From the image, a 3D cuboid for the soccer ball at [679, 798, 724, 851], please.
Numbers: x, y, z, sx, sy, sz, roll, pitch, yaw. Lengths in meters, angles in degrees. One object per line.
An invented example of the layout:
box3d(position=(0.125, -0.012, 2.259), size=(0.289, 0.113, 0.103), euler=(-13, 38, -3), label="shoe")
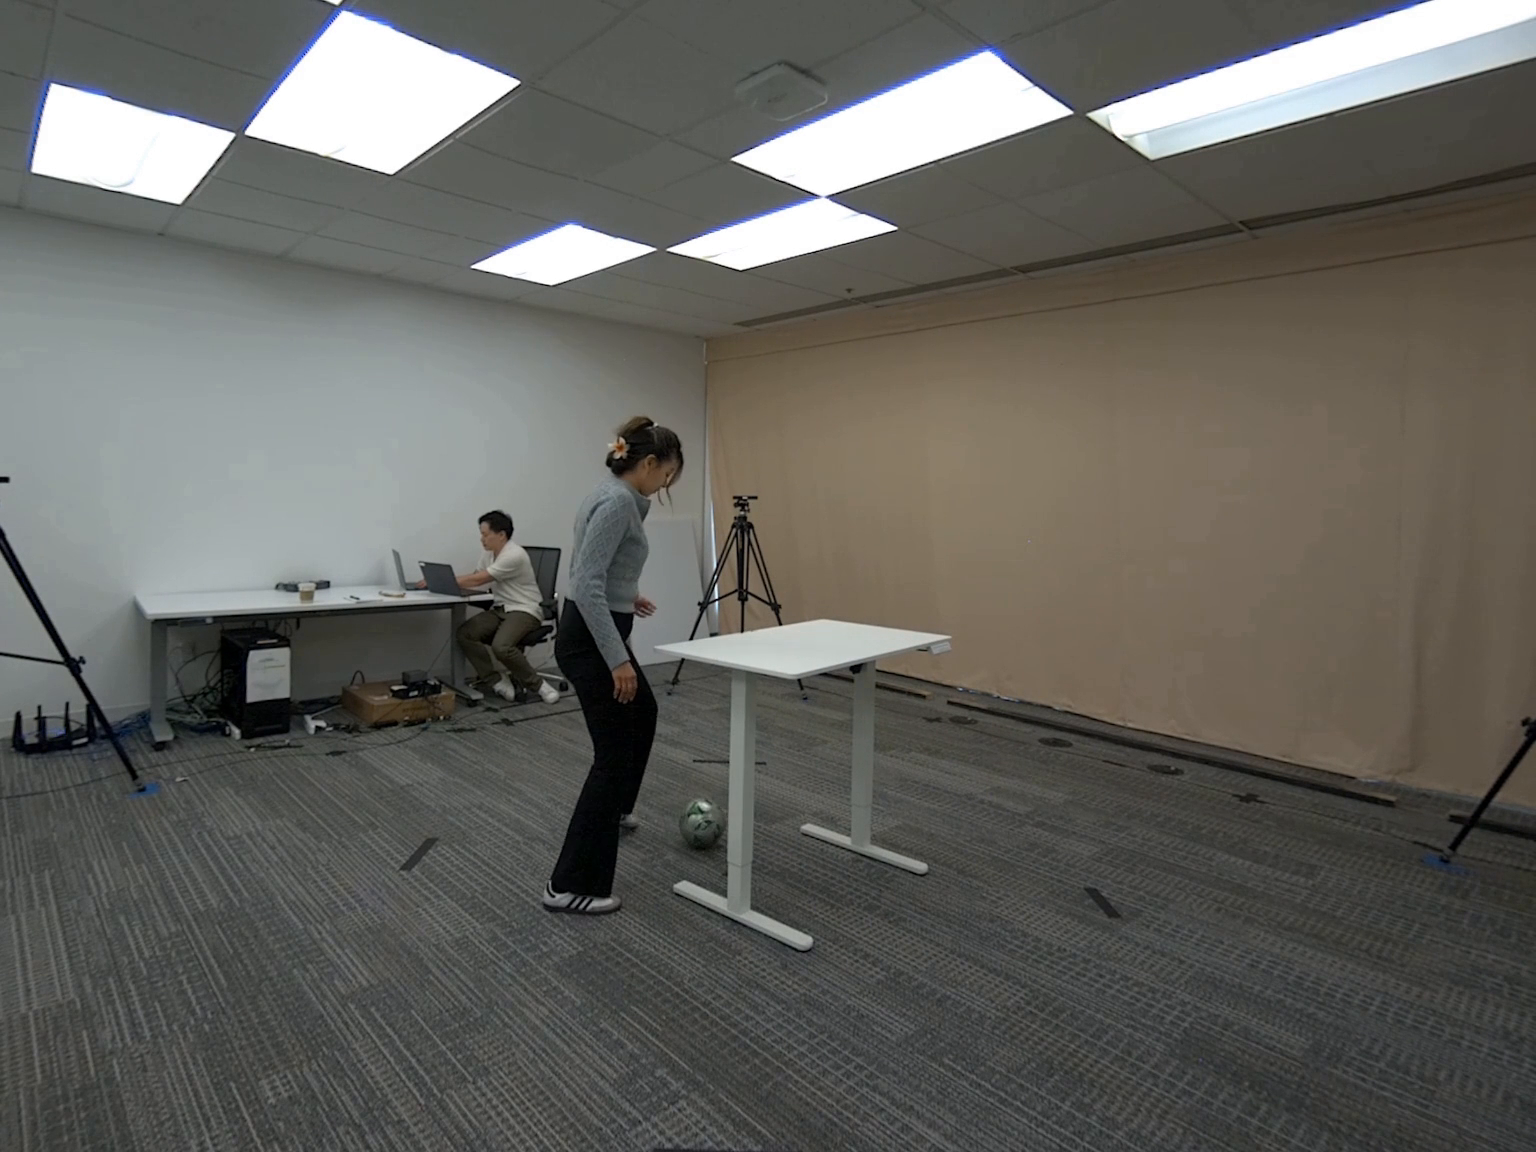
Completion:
box3d(position=(-0.278, 0.981, 3.343), size=(0.187, 0.187, 0.188), euler=(1, 4, -1), label="soccer ball")
